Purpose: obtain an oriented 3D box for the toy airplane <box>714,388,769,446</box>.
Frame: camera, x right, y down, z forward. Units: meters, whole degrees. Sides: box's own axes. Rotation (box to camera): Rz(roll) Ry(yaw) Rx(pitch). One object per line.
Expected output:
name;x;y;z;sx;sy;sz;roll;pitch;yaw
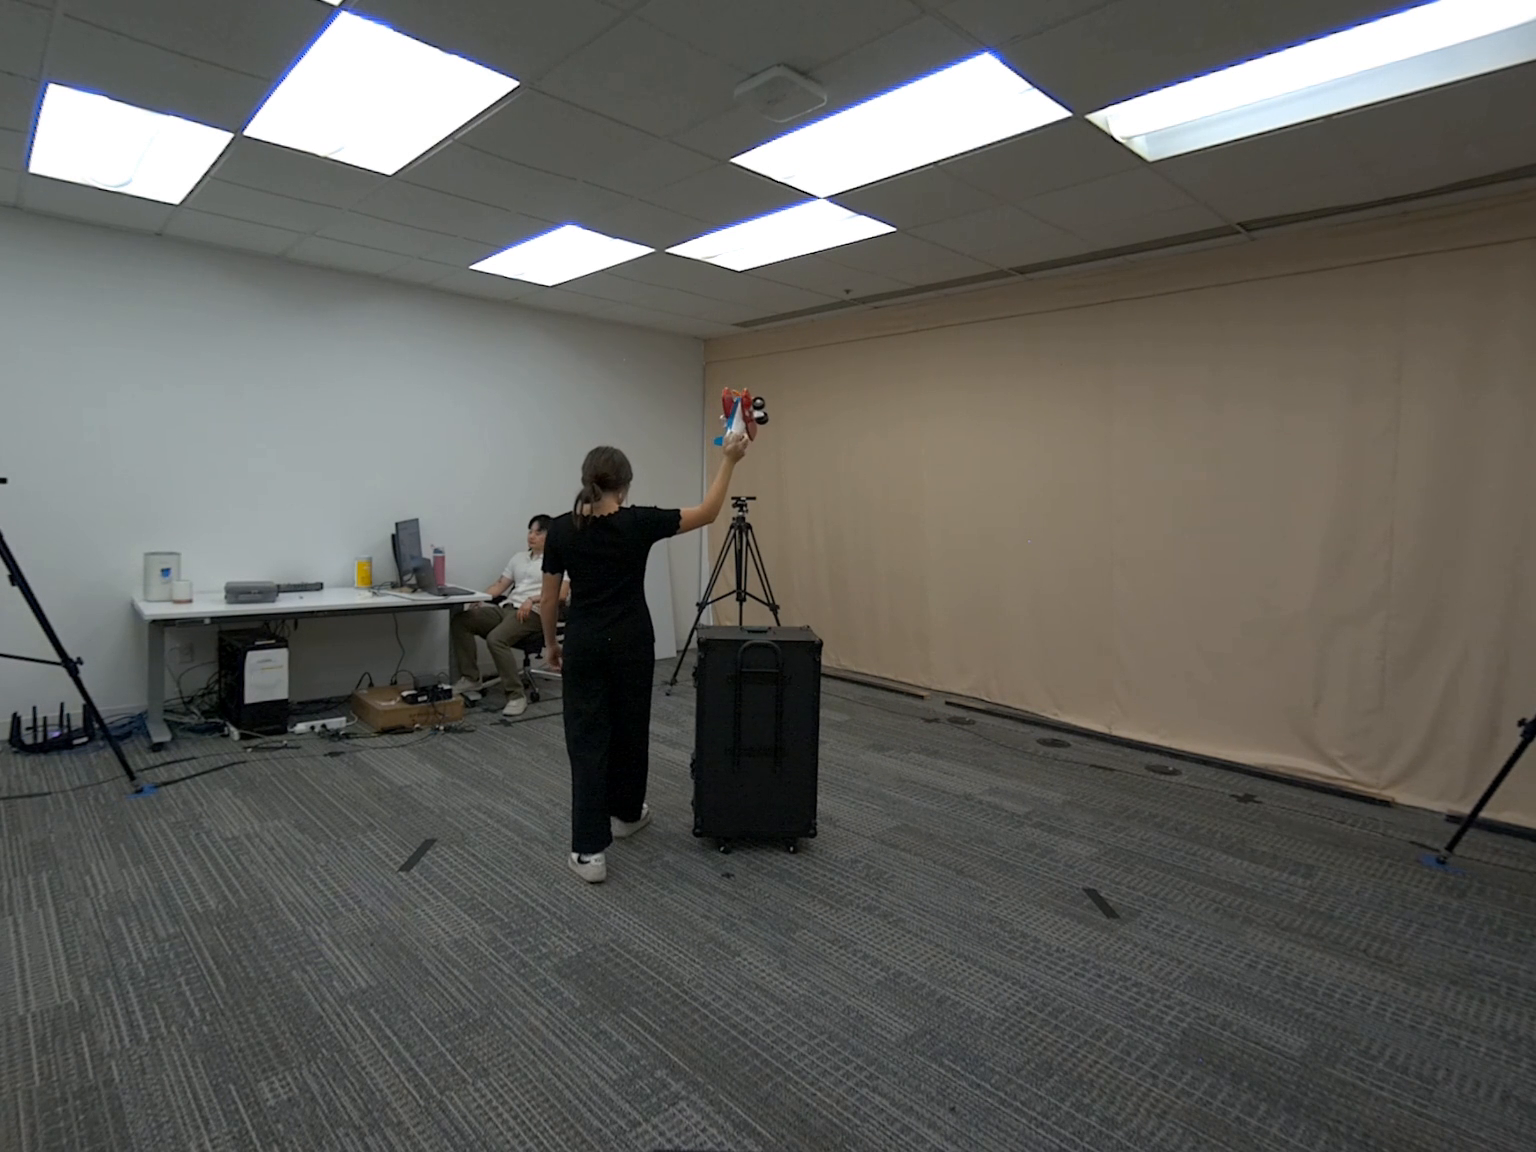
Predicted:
toy airplane;-0.117;-0.626;3.348;0.159;0.247;0.258;19;33;20
